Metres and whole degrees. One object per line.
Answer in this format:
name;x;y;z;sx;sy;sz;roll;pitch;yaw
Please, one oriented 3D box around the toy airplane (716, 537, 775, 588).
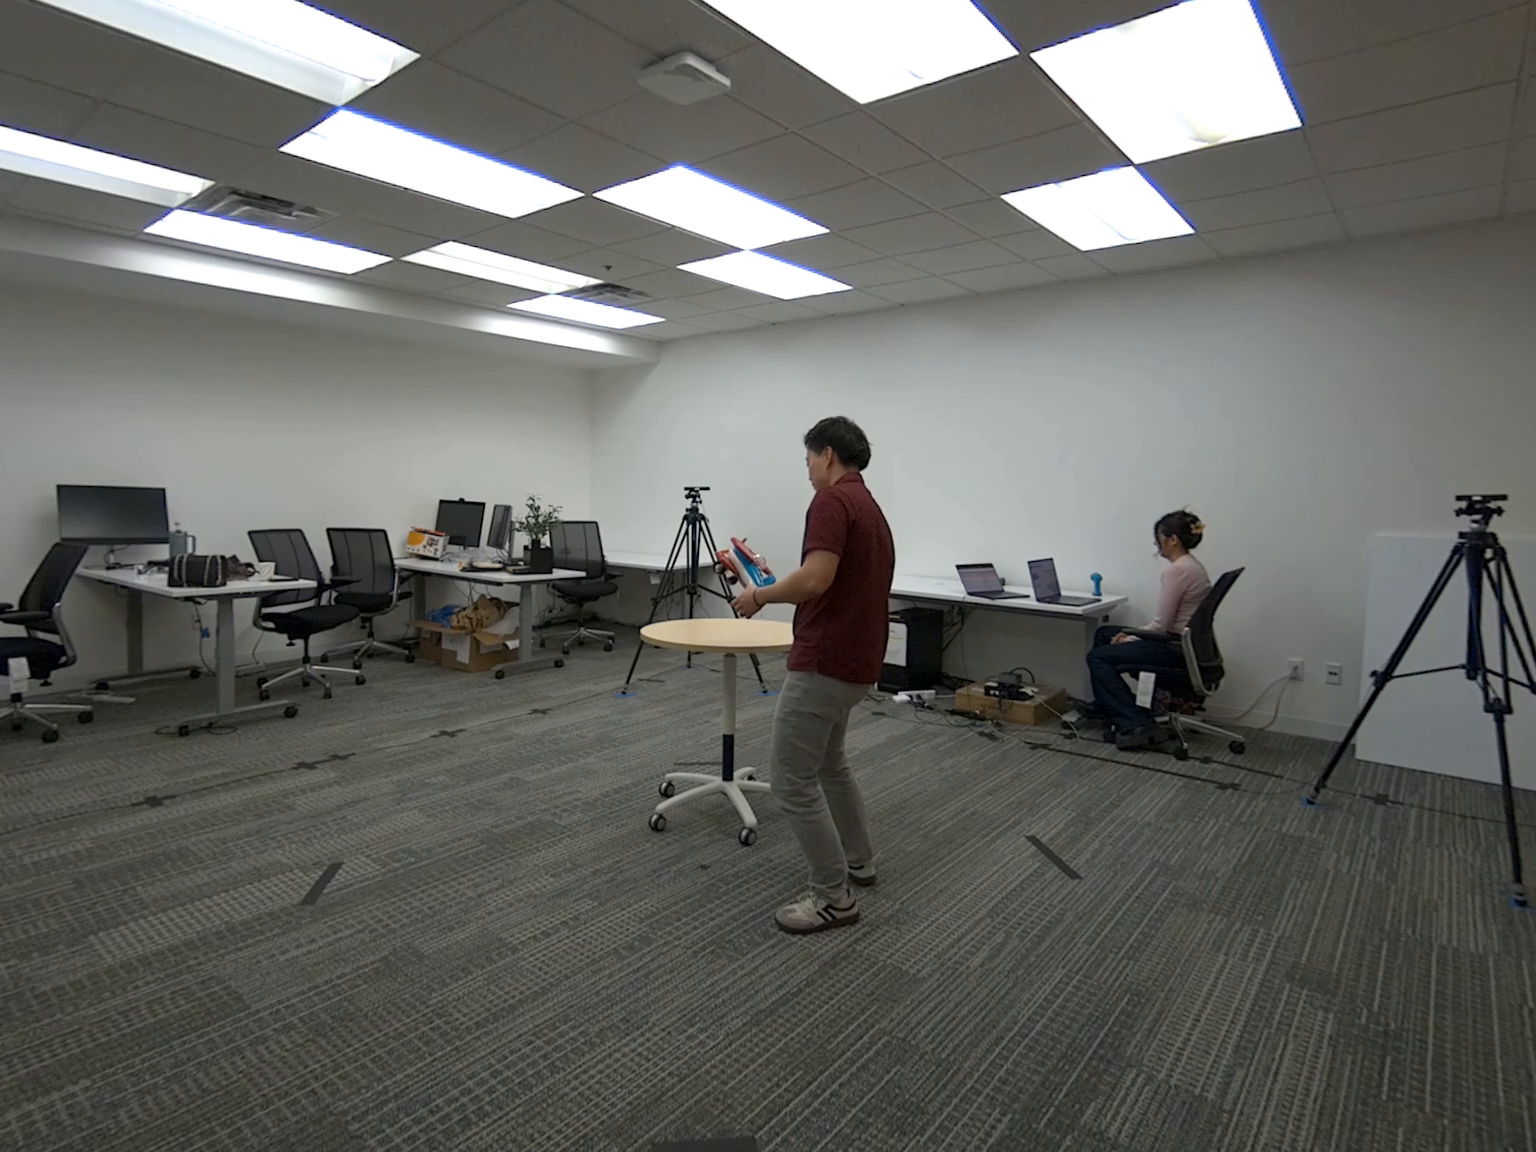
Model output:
toy airplane;-0.082;-0.006;3.148;0.265;0.156;0.245;38;-2;16
